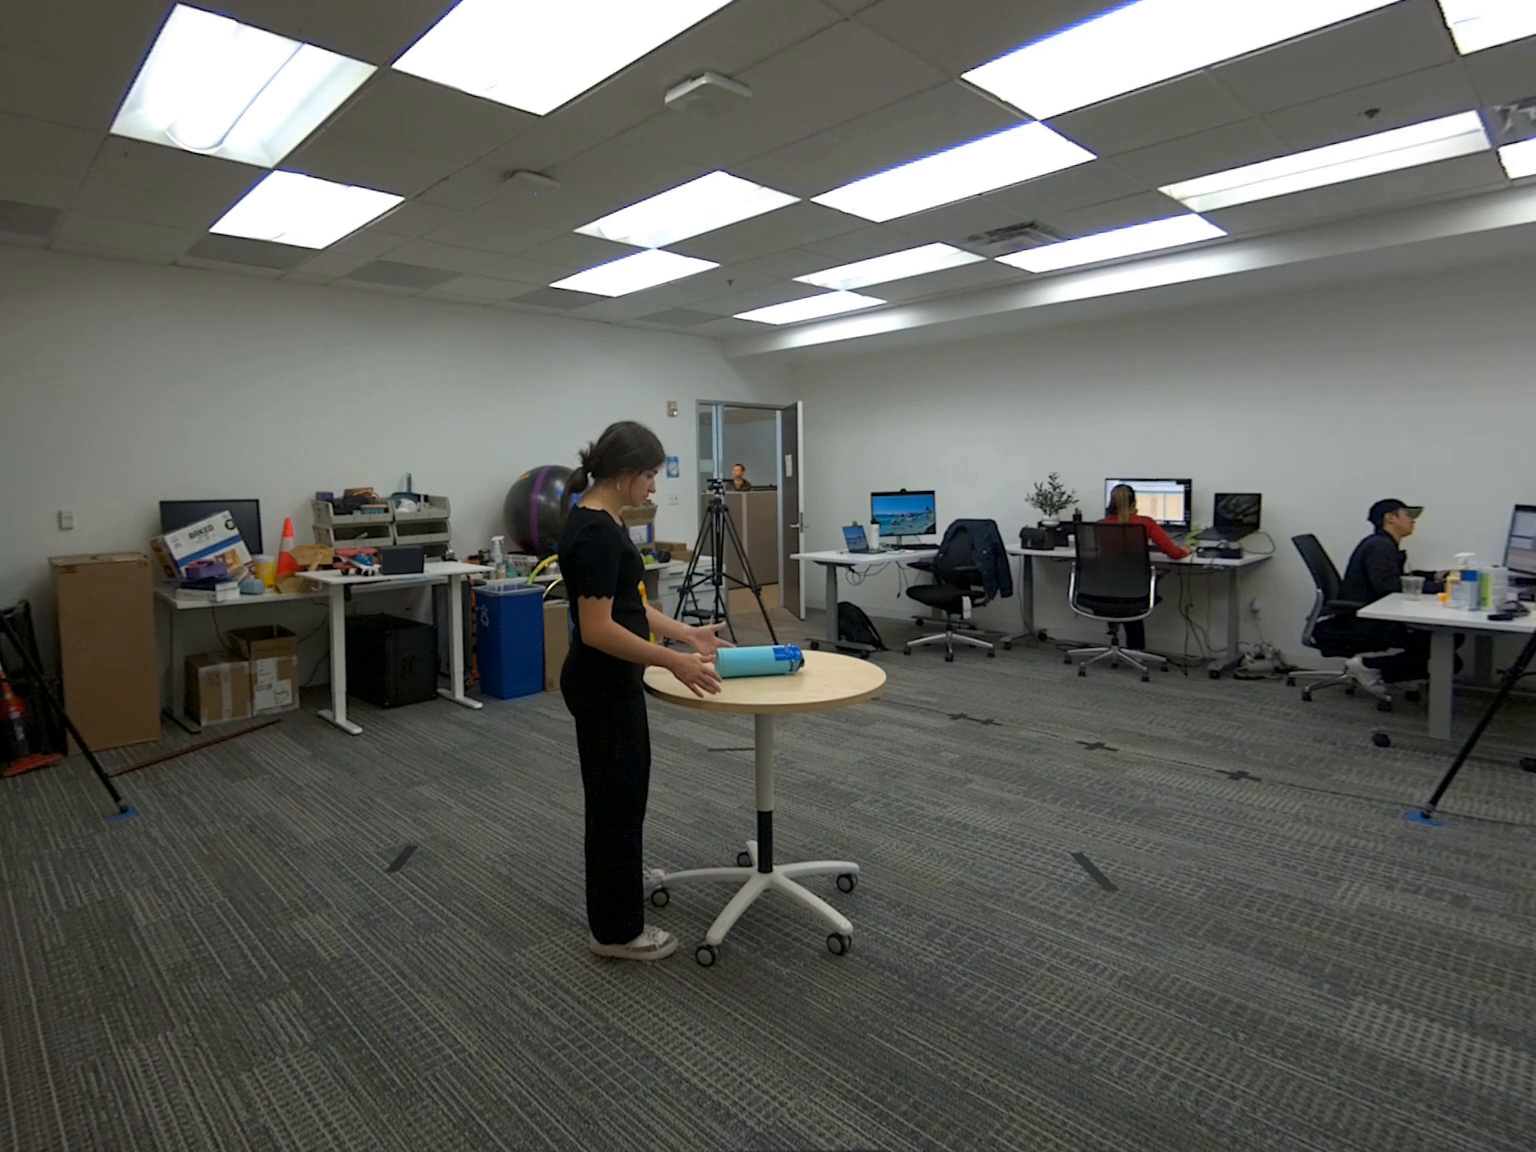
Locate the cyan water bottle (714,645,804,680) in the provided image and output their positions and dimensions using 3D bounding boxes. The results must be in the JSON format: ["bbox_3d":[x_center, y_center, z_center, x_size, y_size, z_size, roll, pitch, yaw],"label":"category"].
[{"bbox_3d":[-0.020,0.264,2.669,0.281,0.092,0.093,-2,5,-9],"label":"cyan water bottle"}]
